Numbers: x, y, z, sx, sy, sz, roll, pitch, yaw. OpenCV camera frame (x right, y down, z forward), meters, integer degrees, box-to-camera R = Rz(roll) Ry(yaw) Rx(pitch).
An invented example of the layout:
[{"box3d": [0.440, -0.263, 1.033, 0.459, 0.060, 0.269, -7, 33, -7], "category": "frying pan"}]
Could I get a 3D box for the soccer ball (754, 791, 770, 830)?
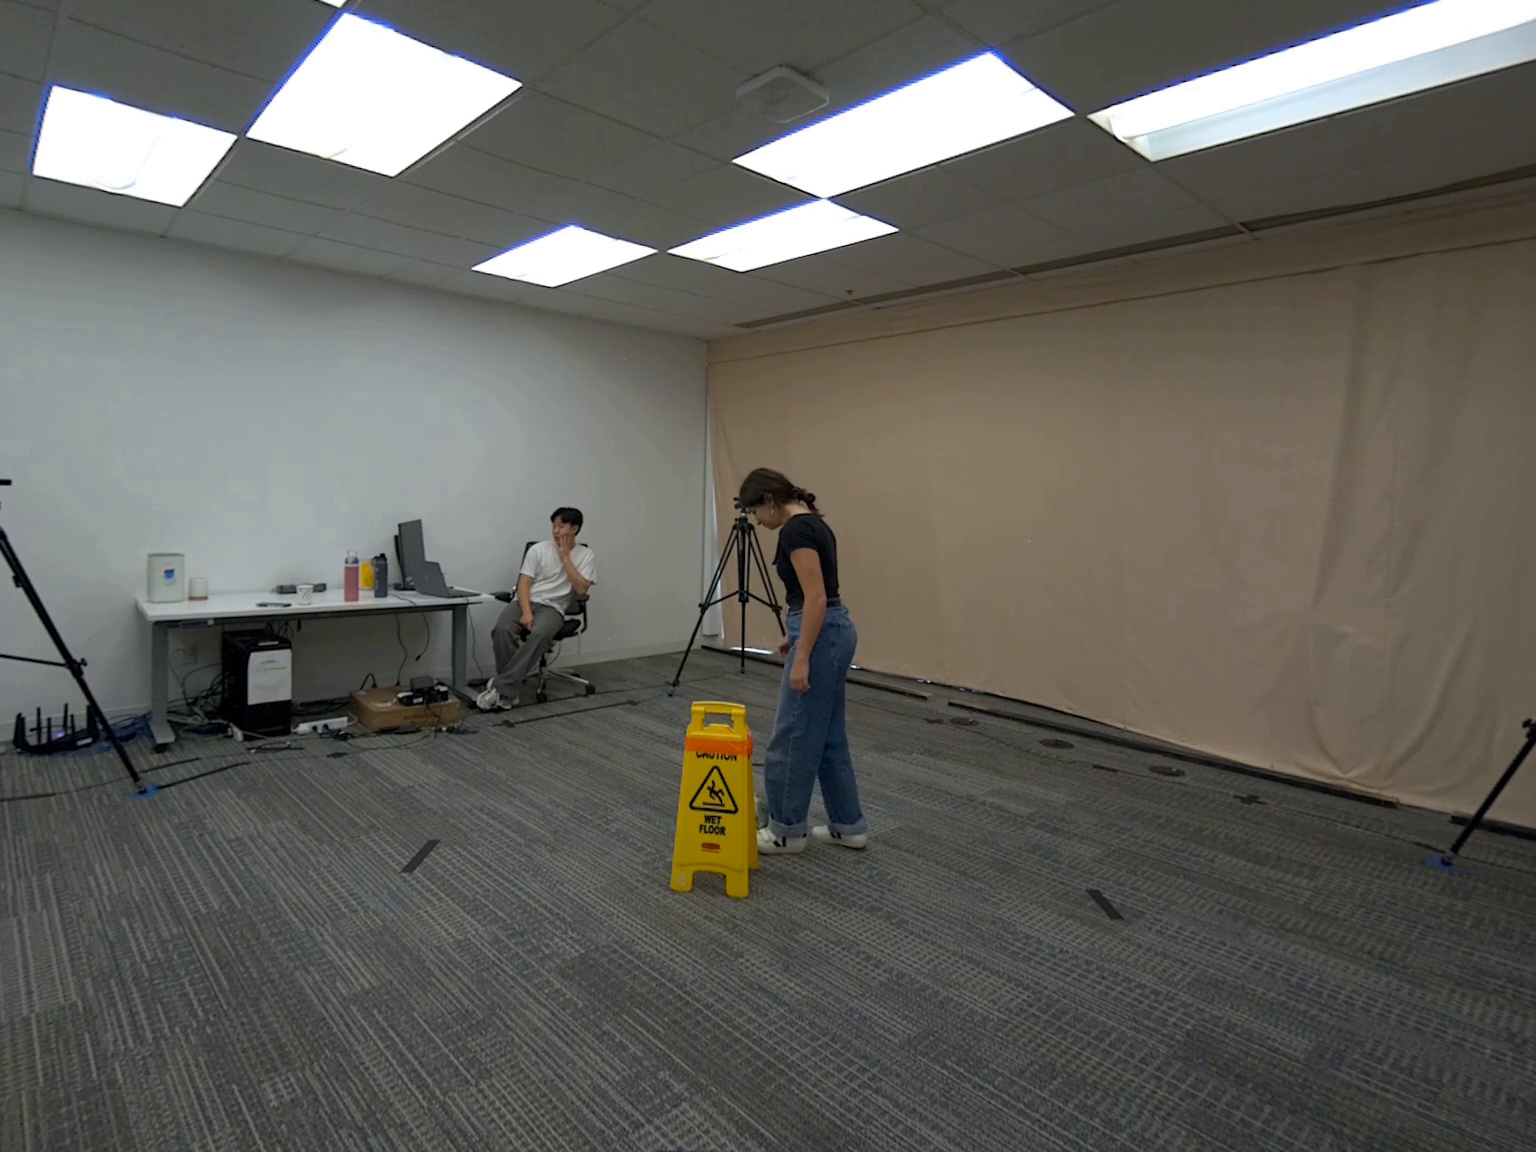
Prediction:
[{"box3d": [-0.064, 0.983, 3.469, 0.187, 0.187, 0.188, 1, 4, -1], "category": "soccer ball"}]
